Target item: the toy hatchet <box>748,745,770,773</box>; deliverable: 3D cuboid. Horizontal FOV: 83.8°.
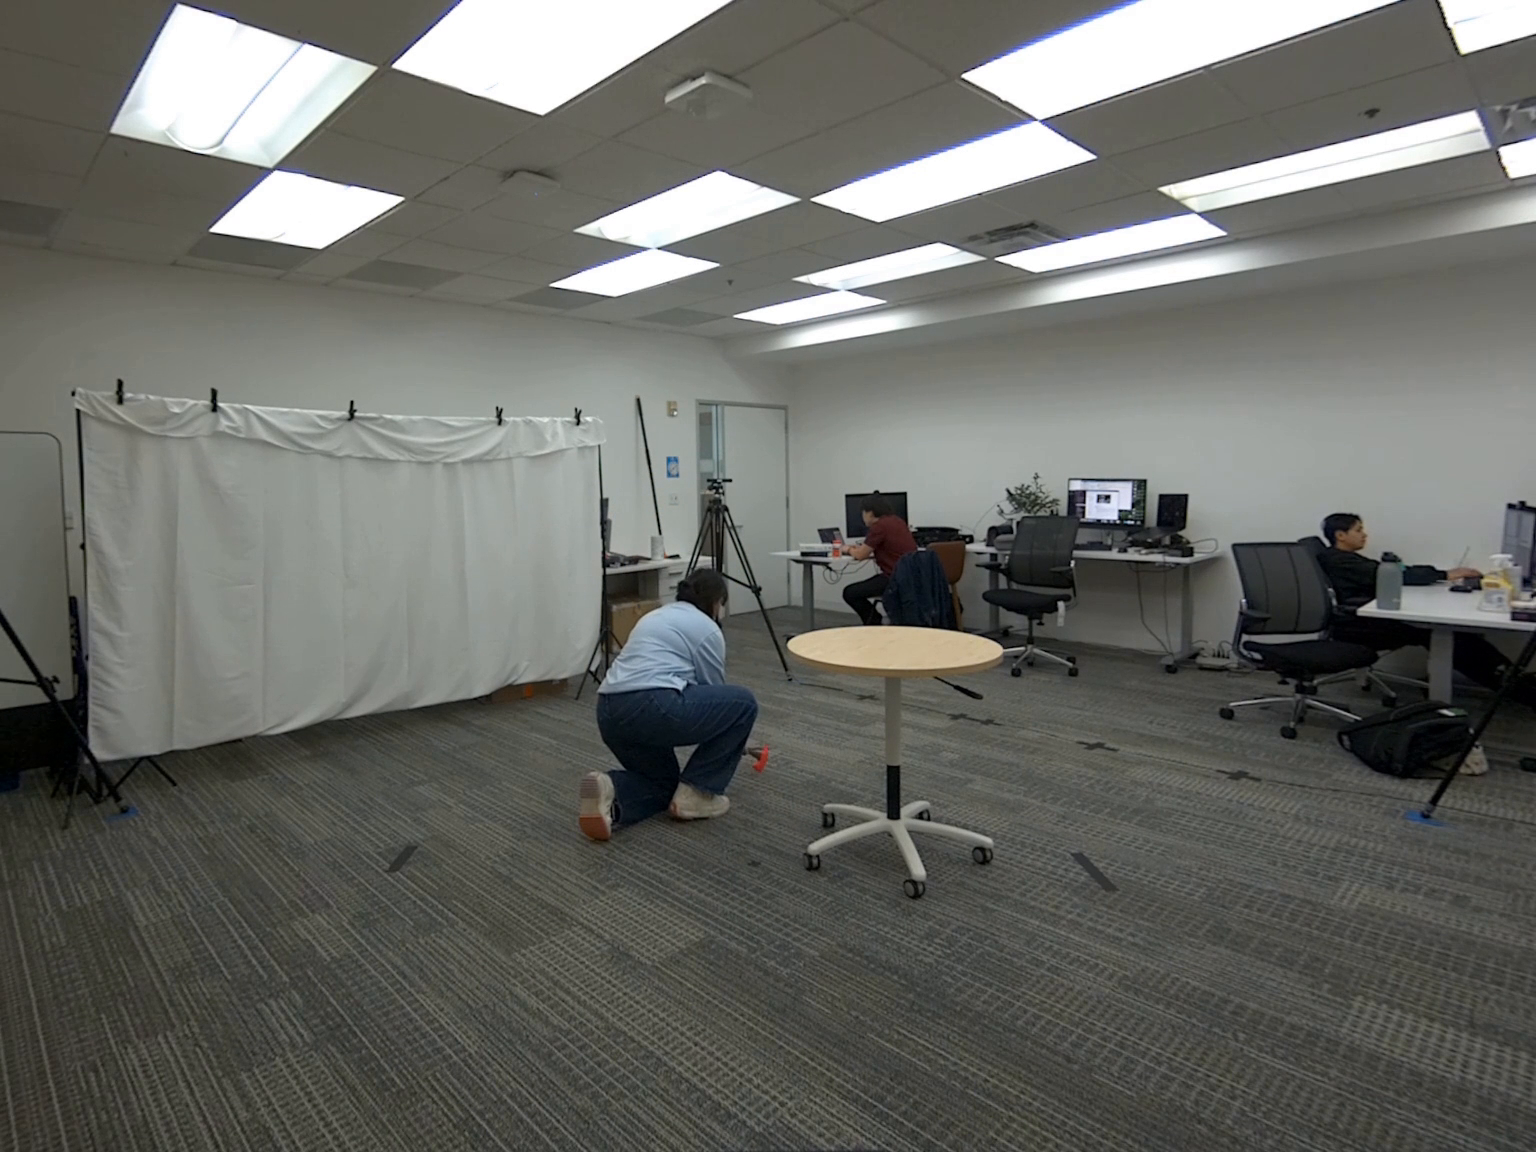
[{"bbox_3d":[-0.089,0.845,3.995,0.262,0.131,0.030,1,-4,-40],"label":"toy hatchet"}]
